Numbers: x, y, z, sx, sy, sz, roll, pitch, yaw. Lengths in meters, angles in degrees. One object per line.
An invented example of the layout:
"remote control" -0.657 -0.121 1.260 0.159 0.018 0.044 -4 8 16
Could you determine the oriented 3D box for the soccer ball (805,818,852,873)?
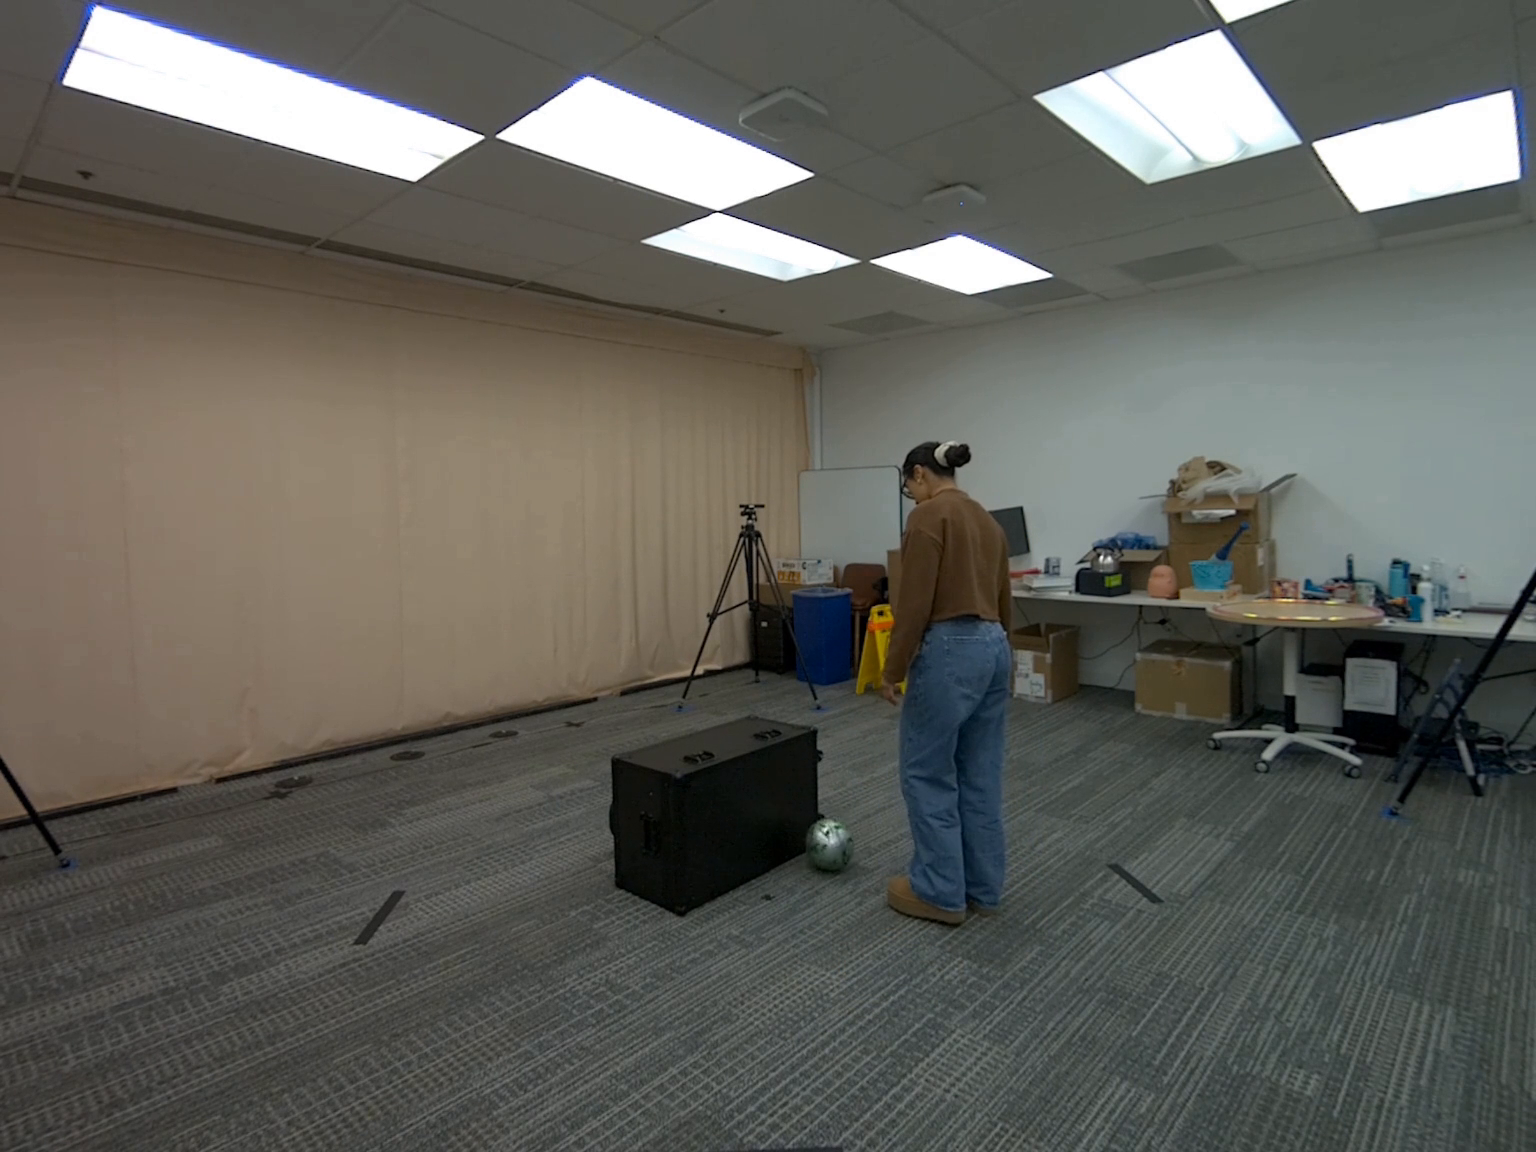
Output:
"soccer ball" 0.230 1.020 3.192 0.187 0.187 0.188 -1 4 -2
